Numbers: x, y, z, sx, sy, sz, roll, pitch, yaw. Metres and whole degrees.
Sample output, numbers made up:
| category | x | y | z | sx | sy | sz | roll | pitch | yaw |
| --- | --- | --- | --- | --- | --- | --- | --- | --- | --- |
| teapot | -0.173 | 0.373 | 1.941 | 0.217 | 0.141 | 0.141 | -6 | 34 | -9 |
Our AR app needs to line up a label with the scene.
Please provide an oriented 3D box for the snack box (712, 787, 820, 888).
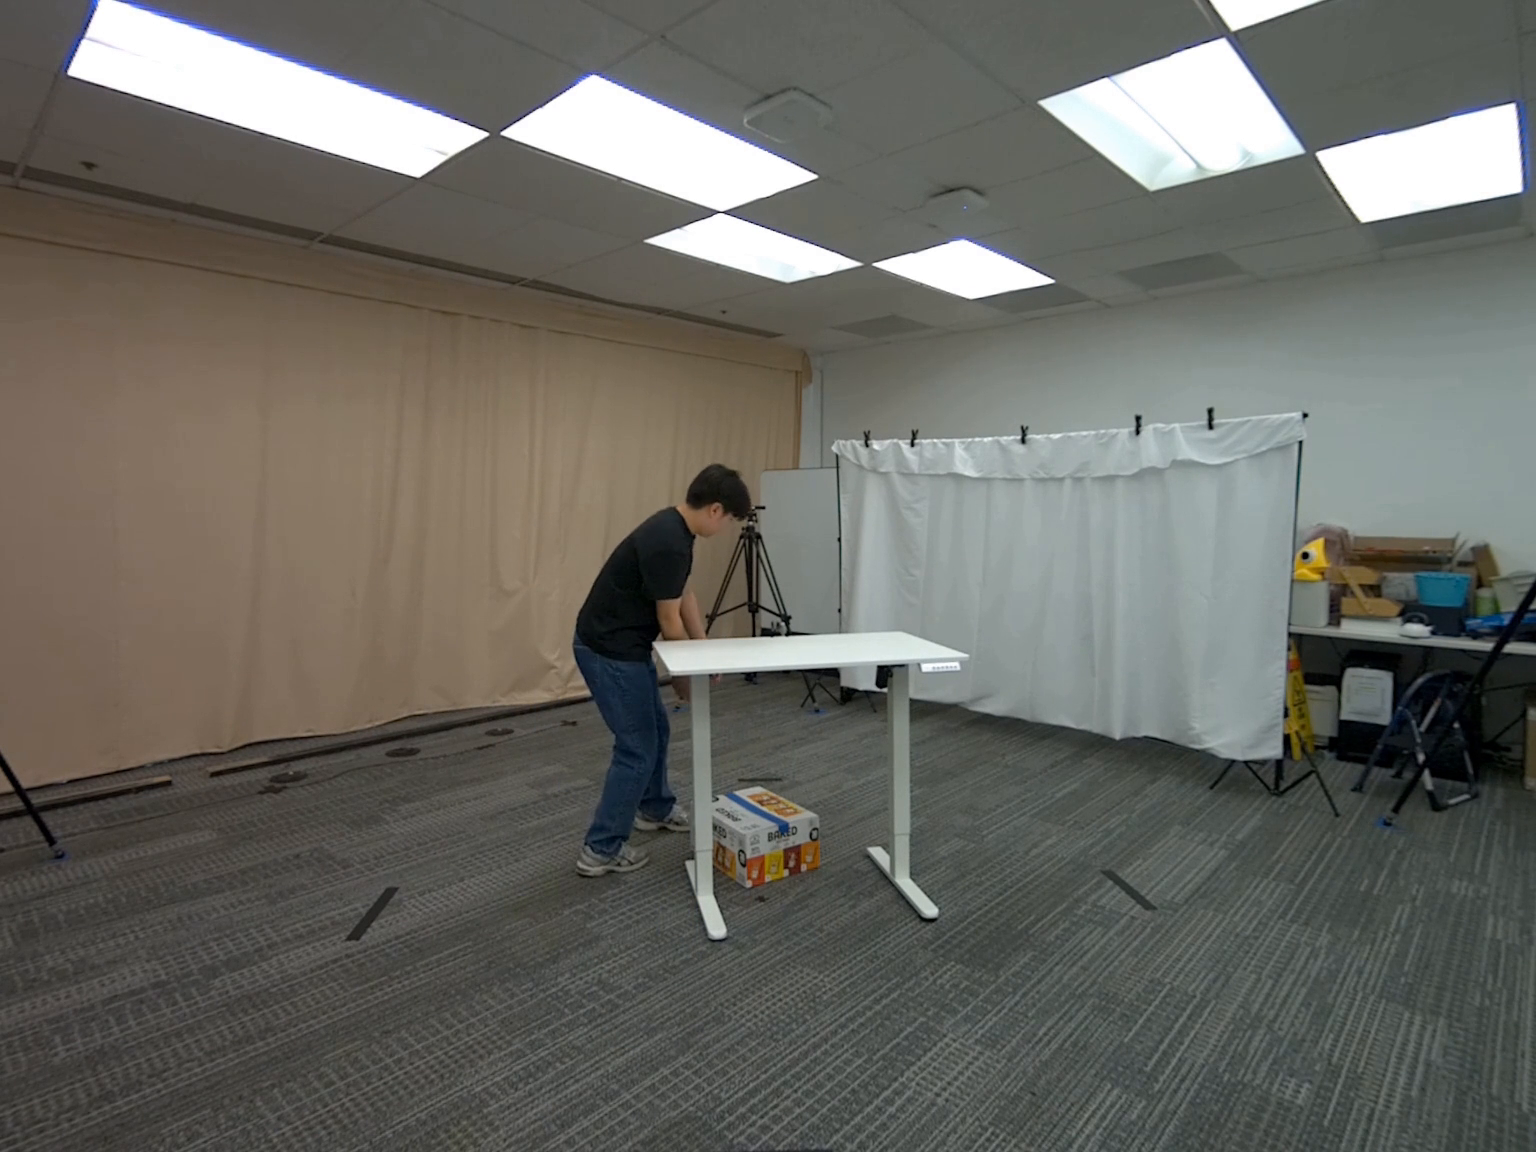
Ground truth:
| category | x | y | z | sx | sy | sz | roll | pitch | yaw |
| --- | --- | --- | --- | --- | --- | --- | --- | --- | --- |
| snack box | -0.057 | 1.015 | 3.311 | 0.331 | 0.205 | 0.418 | -3 | 6 | -34 |
